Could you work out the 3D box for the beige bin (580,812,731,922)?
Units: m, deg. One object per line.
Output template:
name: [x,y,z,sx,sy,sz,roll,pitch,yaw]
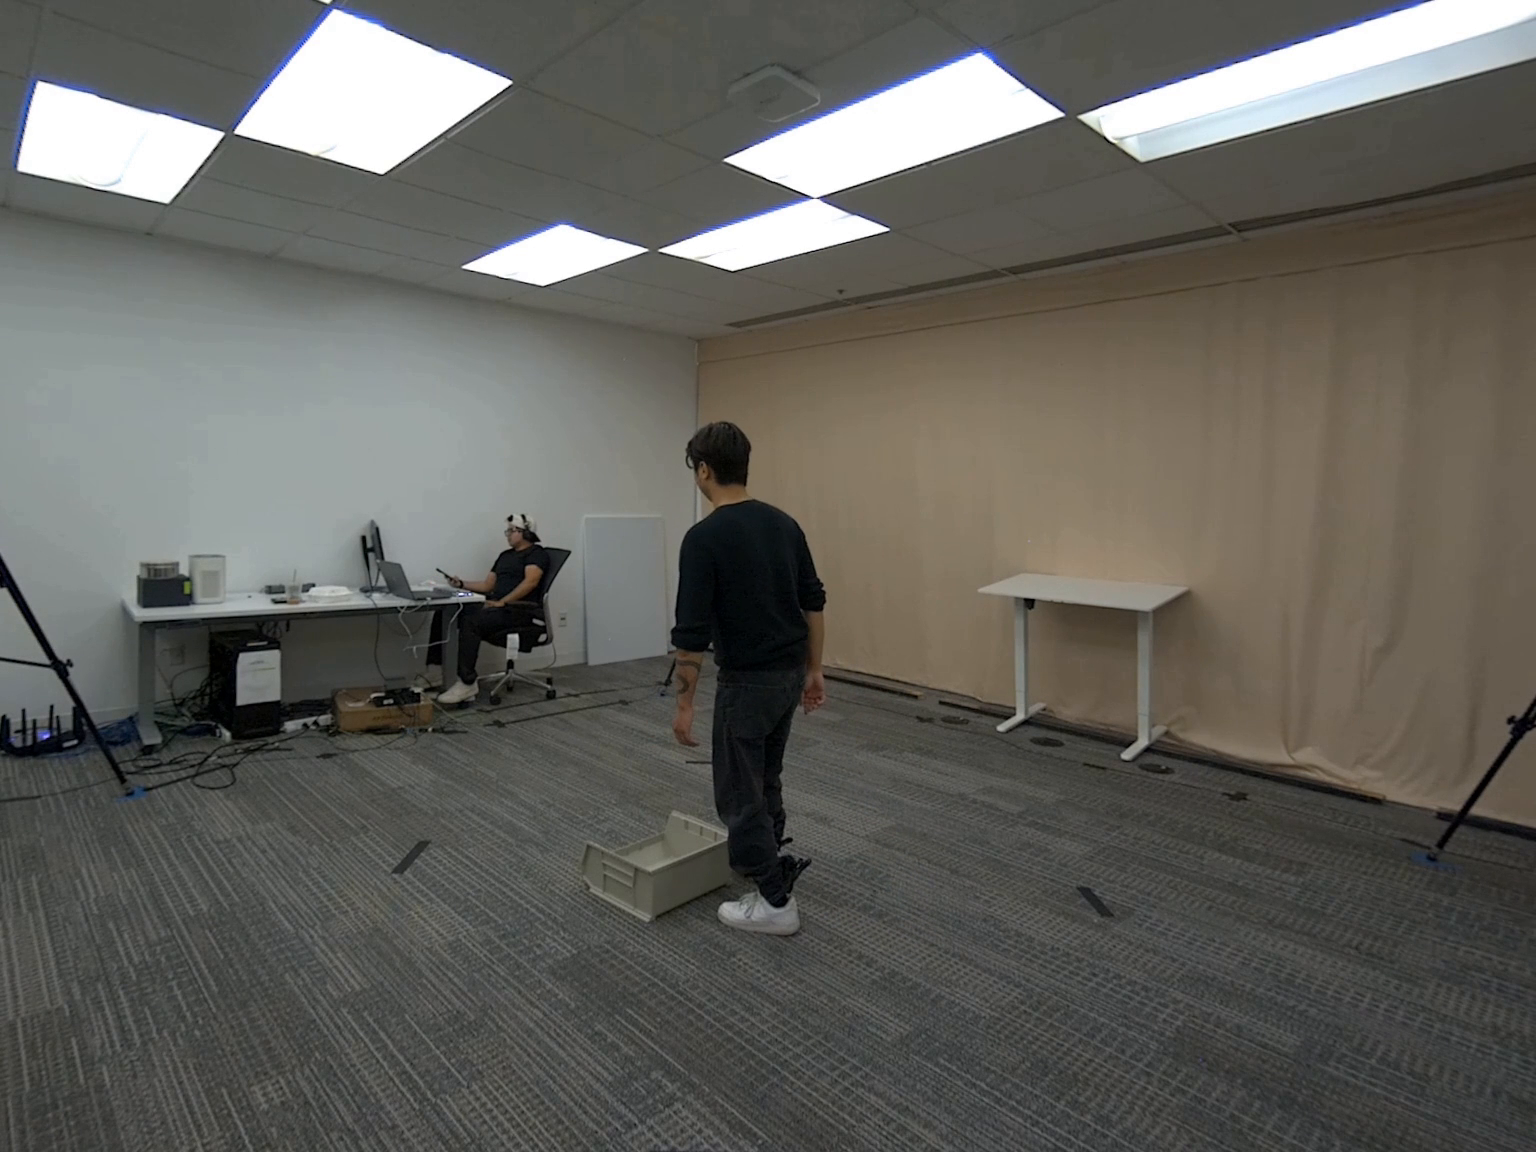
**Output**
beige bin: [-0.400,1.024,3.012,0.387,0.188,0.413,7,7,41]
